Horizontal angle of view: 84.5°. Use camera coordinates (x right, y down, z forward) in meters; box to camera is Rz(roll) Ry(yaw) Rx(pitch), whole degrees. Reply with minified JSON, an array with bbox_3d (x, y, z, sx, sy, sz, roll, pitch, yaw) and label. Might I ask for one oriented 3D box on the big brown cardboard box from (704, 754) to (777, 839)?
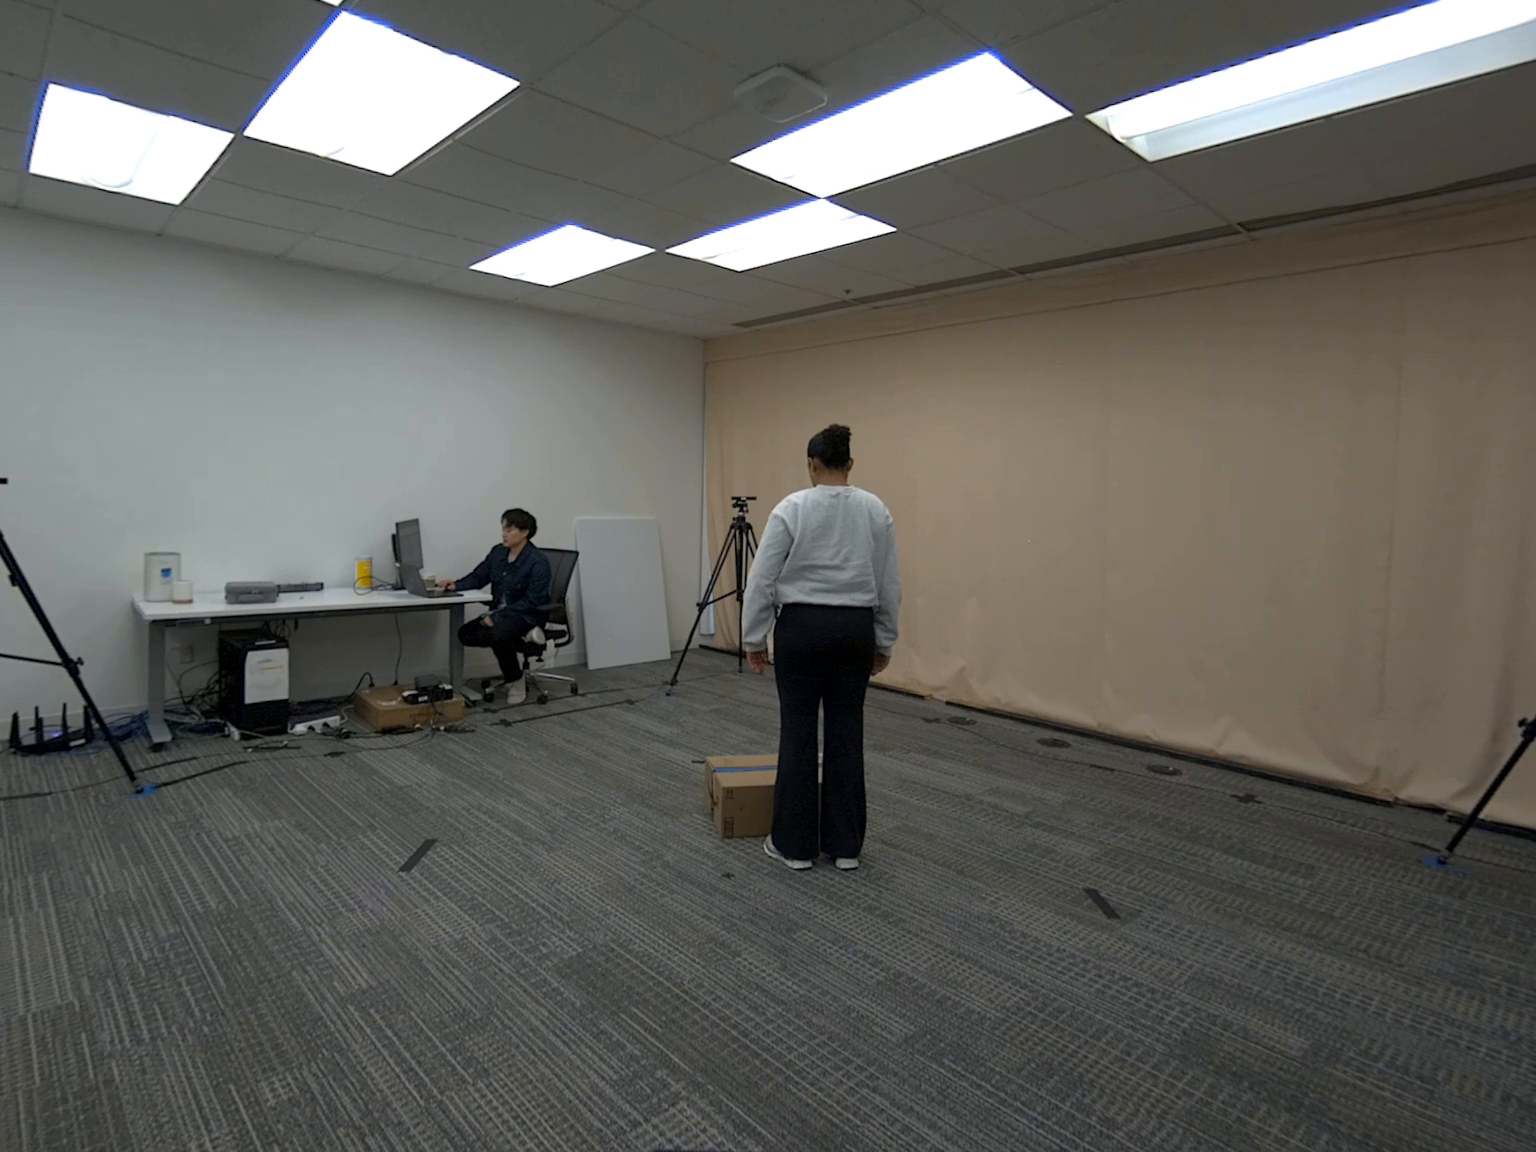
[{"bbox_3d":[0.028,0.945,3.696,0.583,0.232,0.423,-1,5,-13],"label":"big brown cardboard box"}]
